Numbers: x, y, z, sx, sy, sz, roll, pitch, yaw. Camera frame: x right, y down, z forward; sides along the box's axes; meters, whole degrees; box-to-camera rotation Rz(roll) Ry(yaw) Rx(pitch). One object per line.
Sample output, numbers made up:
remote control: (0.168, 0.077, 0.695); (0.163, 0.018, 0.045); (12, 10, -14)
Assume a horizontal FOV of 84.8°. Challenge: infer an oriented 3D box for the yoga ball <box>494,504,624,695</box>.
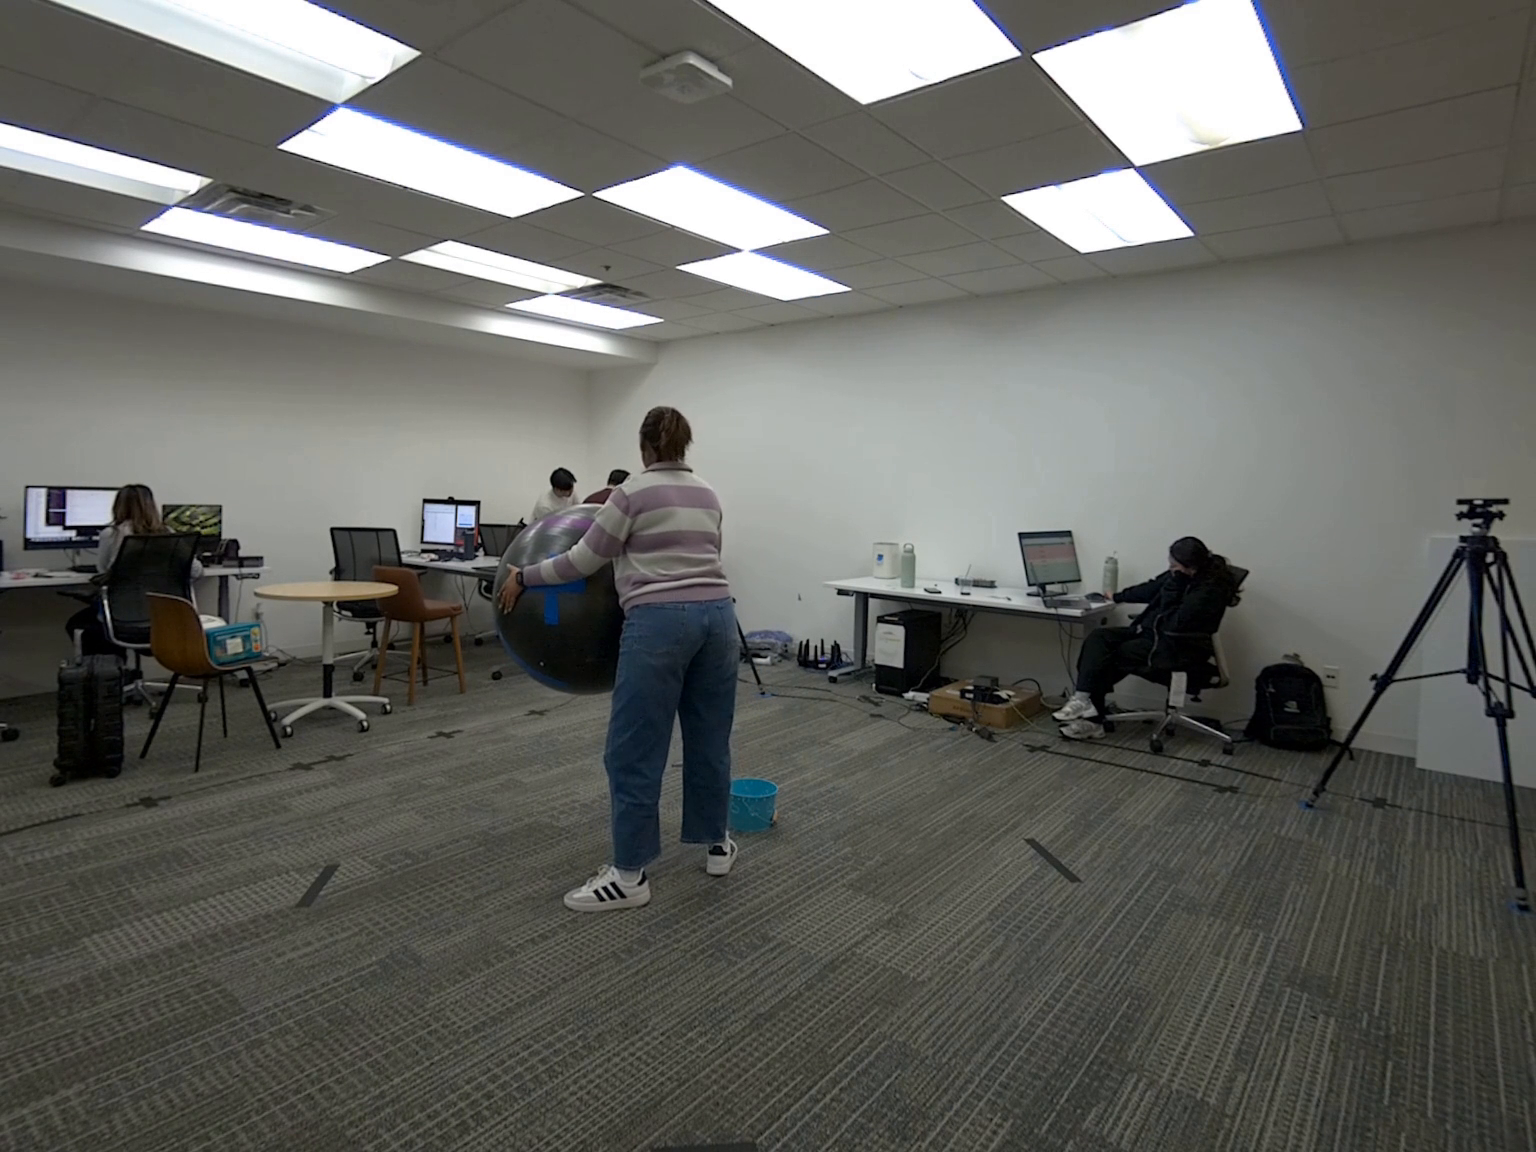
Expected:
yoga ball: (-0.735, 0.095, 3.411); (0.757, 0.756, 0.761); (1, 4, -2)
